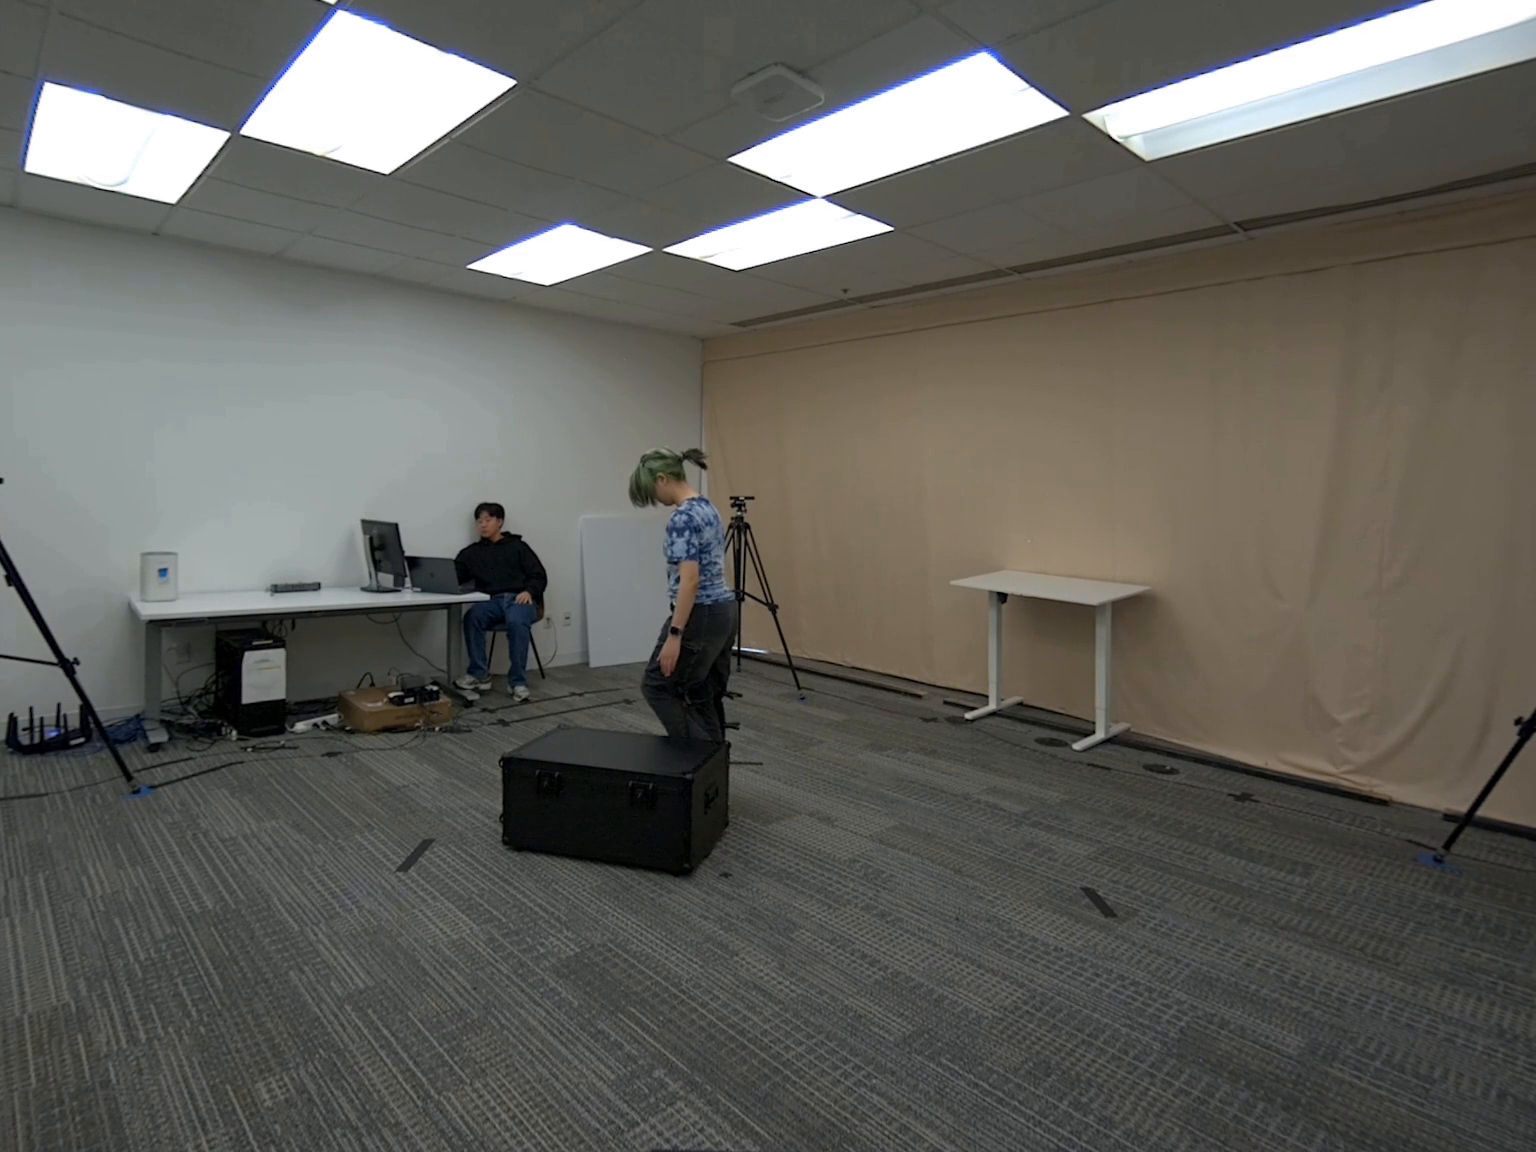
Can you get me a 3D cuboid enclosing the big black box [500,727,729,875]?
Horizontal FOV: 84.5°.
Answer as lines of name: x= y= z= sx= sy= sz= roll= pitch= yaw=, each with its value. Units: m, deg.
big black box: x=-0.635 y=0.874 z=3.389 sx=0.873 sy=0.395 sz=0.516 roll=4 pitch=5 yaw=16
